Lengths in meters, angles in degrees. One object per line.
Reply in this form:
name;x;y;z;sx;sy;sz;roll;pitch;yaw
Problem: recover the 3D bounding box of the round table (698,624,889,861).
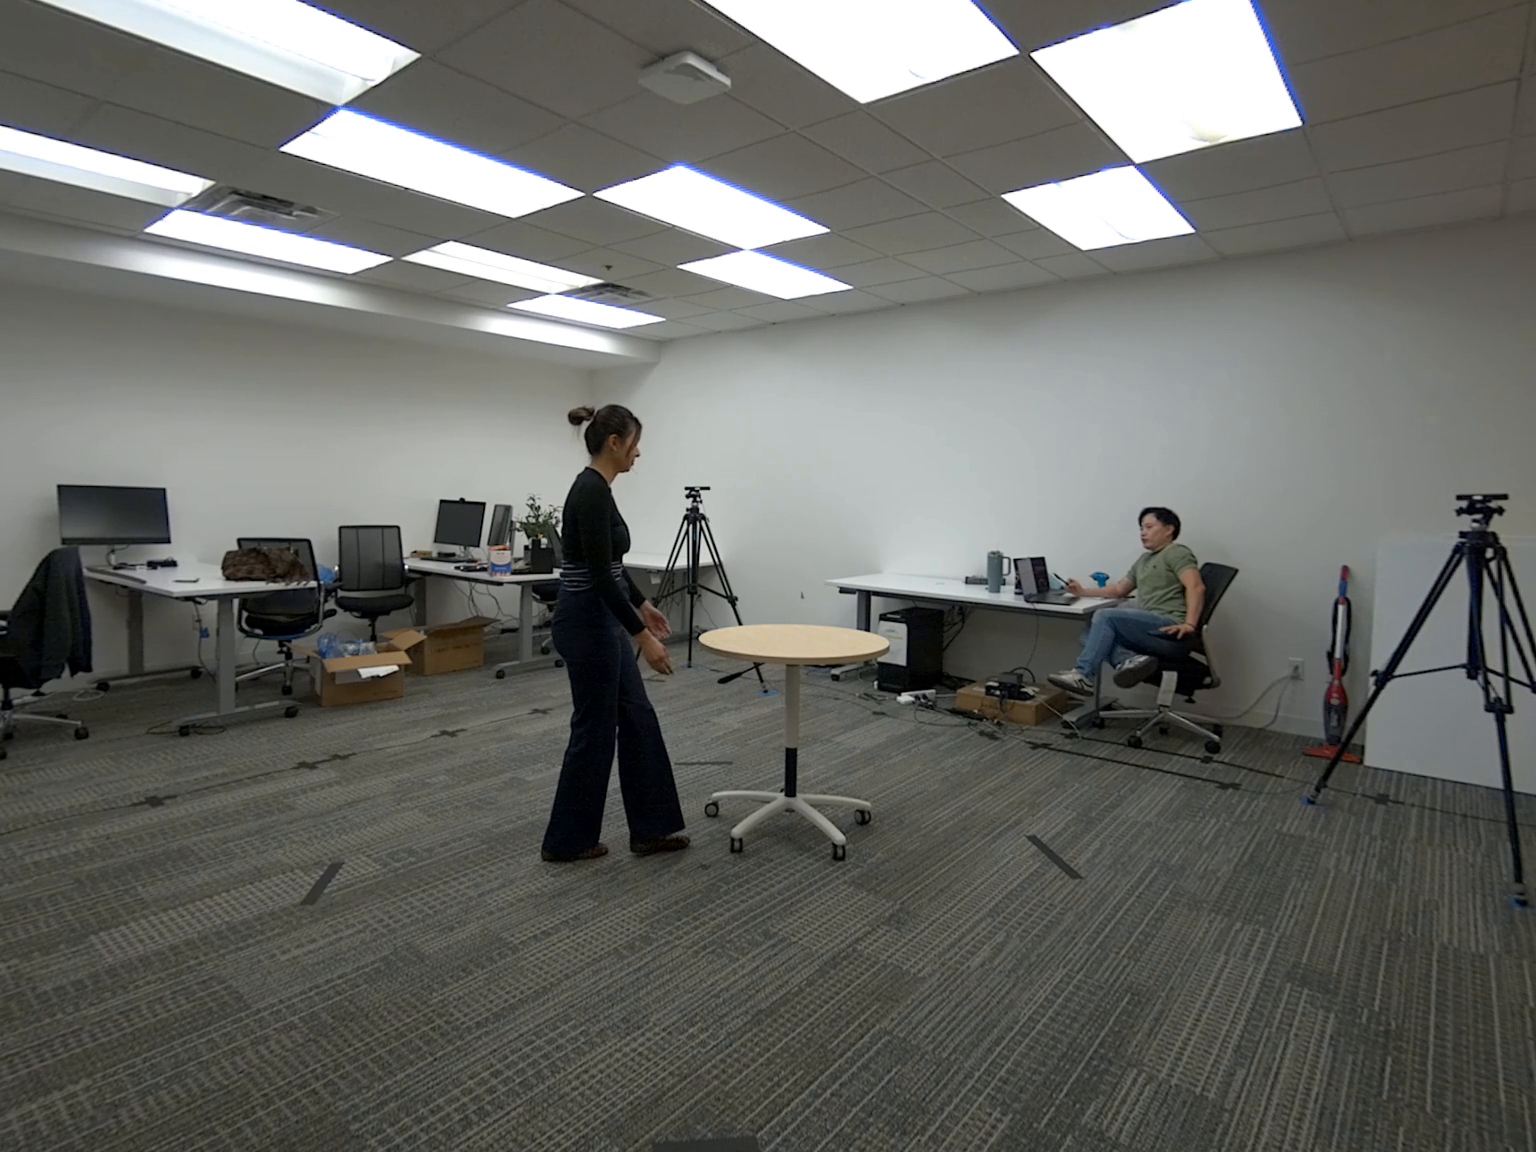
round table;0.077;0.650;3.463;0.763;0.791;0.767;1;4;-2
